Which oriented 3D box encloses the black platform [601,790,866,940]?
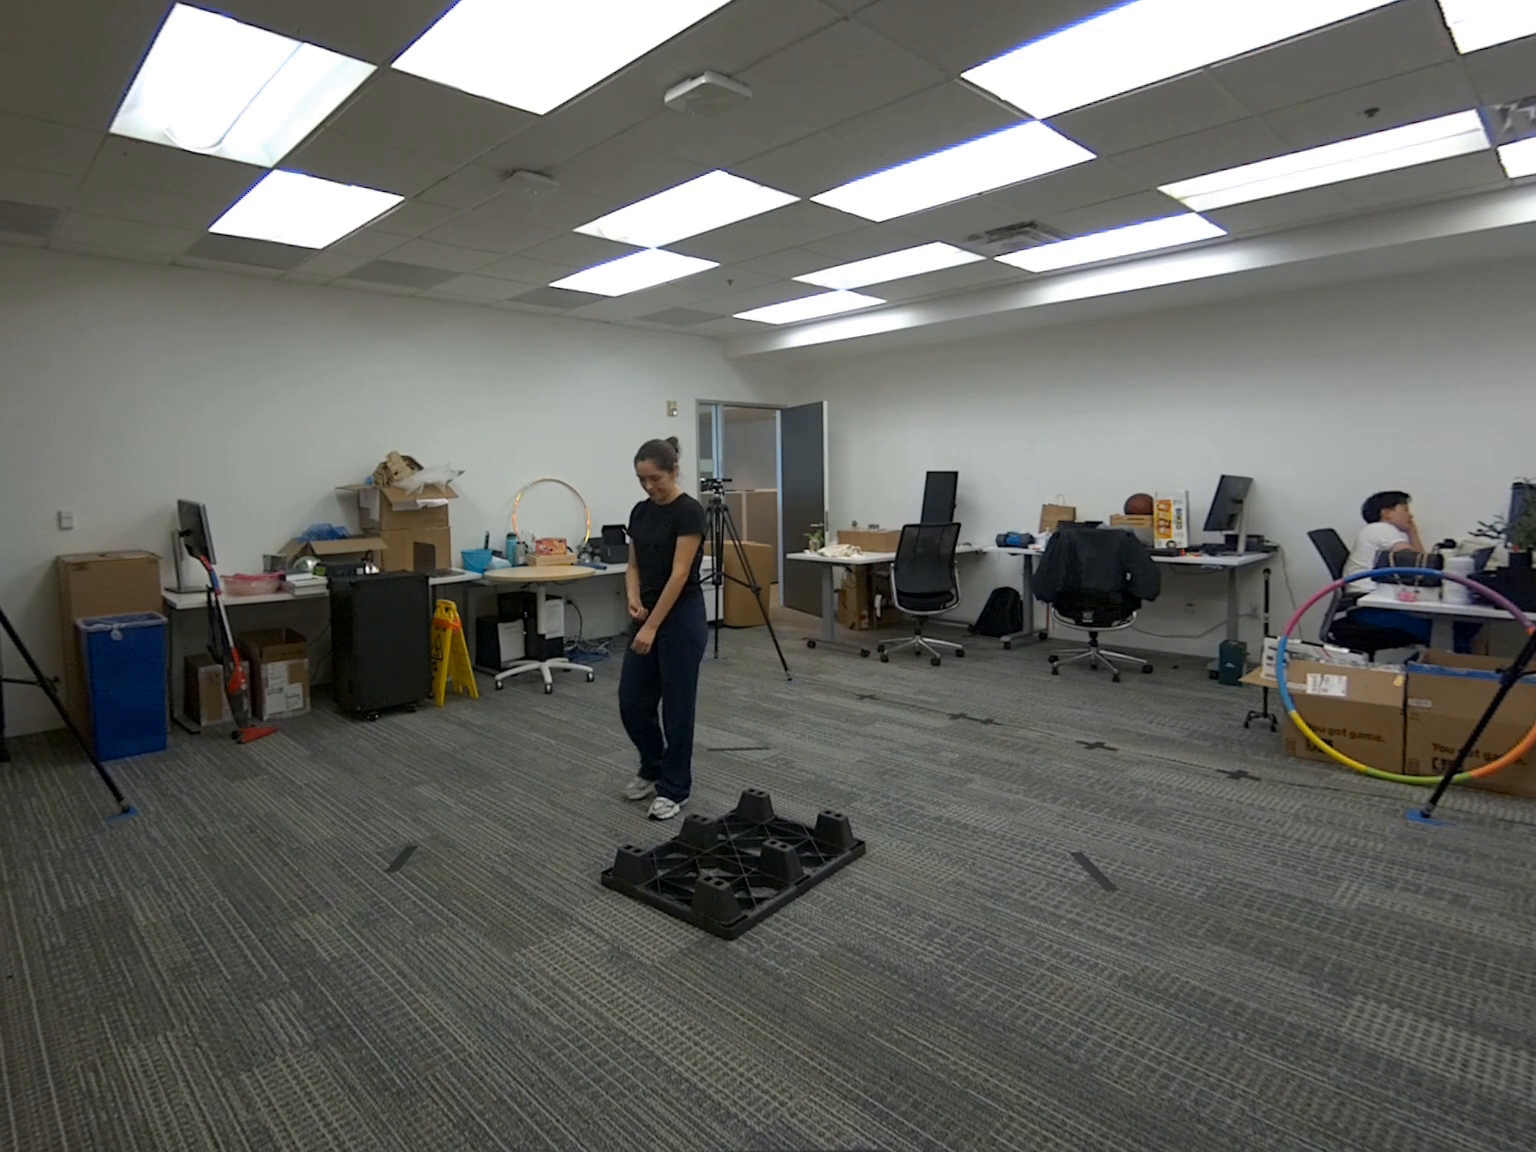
[{"bbox_3d":[-0.108,0.982,3.087,0.623,0.142,0.785,5,8,39],"label":"black platform"}]
